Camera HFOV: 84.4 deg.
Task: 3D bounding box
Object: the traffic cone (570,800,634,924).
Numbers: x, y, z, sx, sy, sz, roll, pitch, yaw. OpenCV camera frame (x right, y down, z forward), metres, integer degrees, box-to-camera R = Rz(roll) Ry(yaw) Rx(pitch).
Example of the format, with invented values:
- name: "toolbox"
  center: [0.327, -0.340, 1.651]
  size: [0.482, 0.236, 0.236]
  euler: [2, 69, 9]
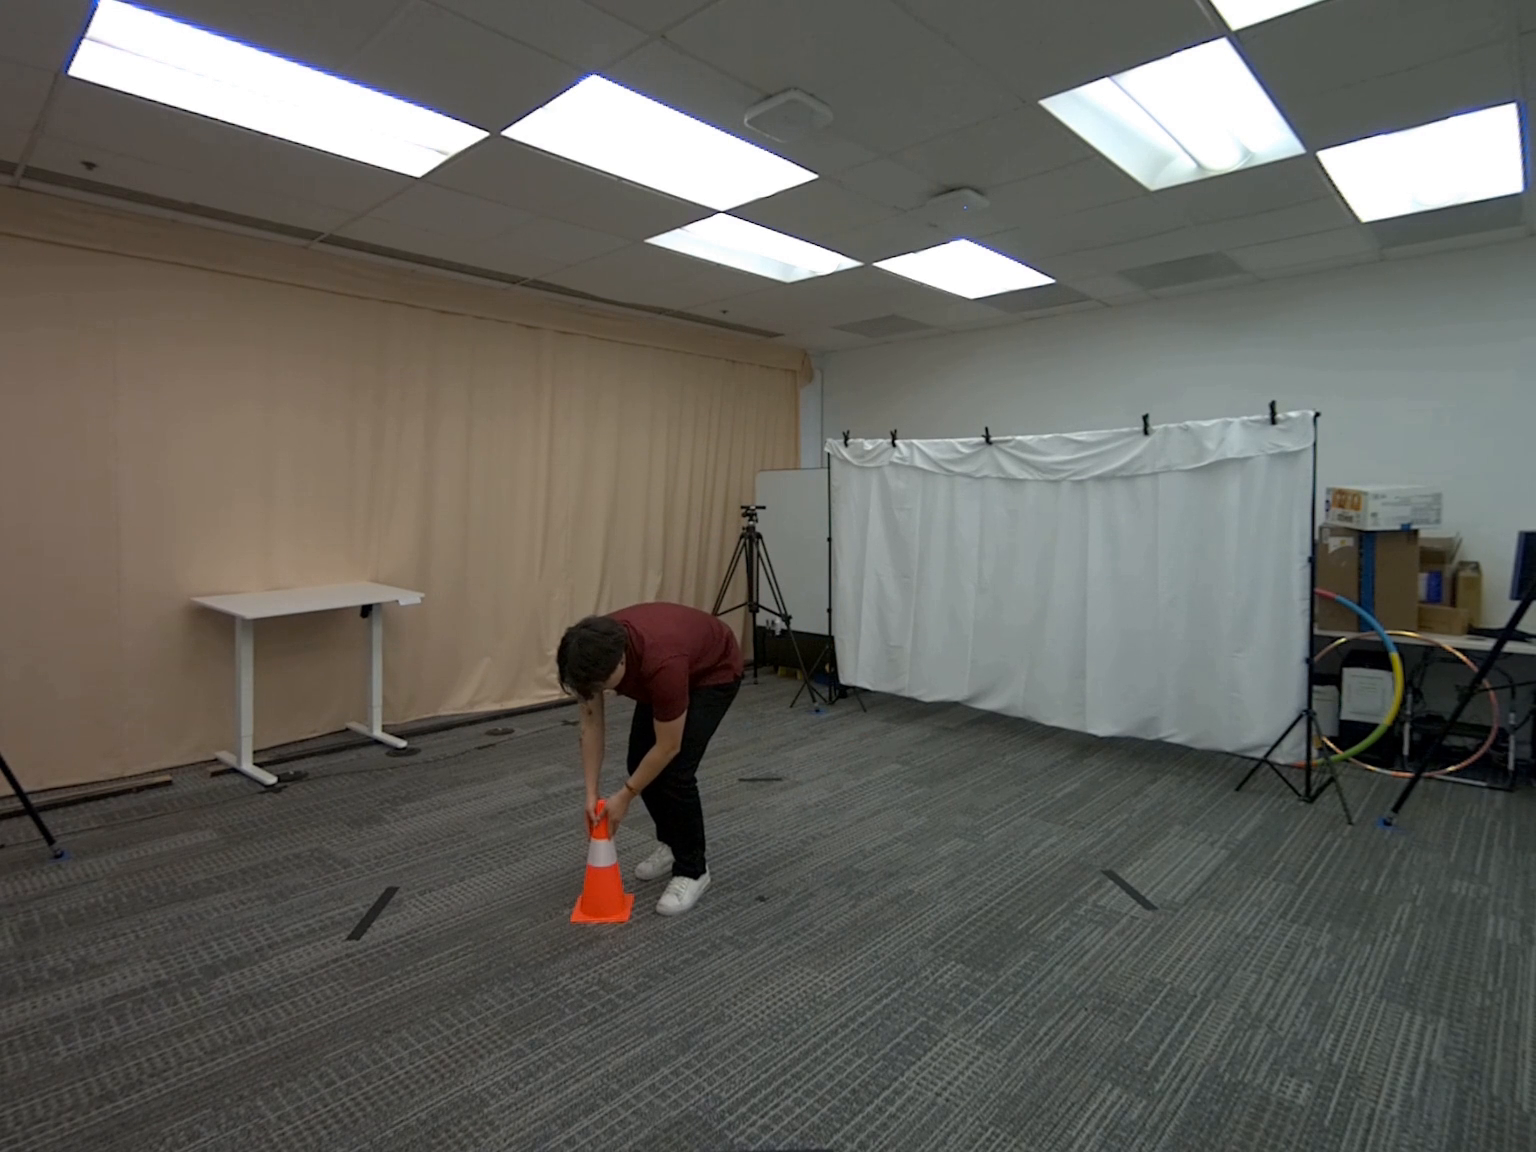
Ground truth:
- name: "traffic cone"
  center: [-0.582, 0.970, 2.914]
  size: [0.204, 0.383, 0.204]
  euler: [-3, 2, -3]
